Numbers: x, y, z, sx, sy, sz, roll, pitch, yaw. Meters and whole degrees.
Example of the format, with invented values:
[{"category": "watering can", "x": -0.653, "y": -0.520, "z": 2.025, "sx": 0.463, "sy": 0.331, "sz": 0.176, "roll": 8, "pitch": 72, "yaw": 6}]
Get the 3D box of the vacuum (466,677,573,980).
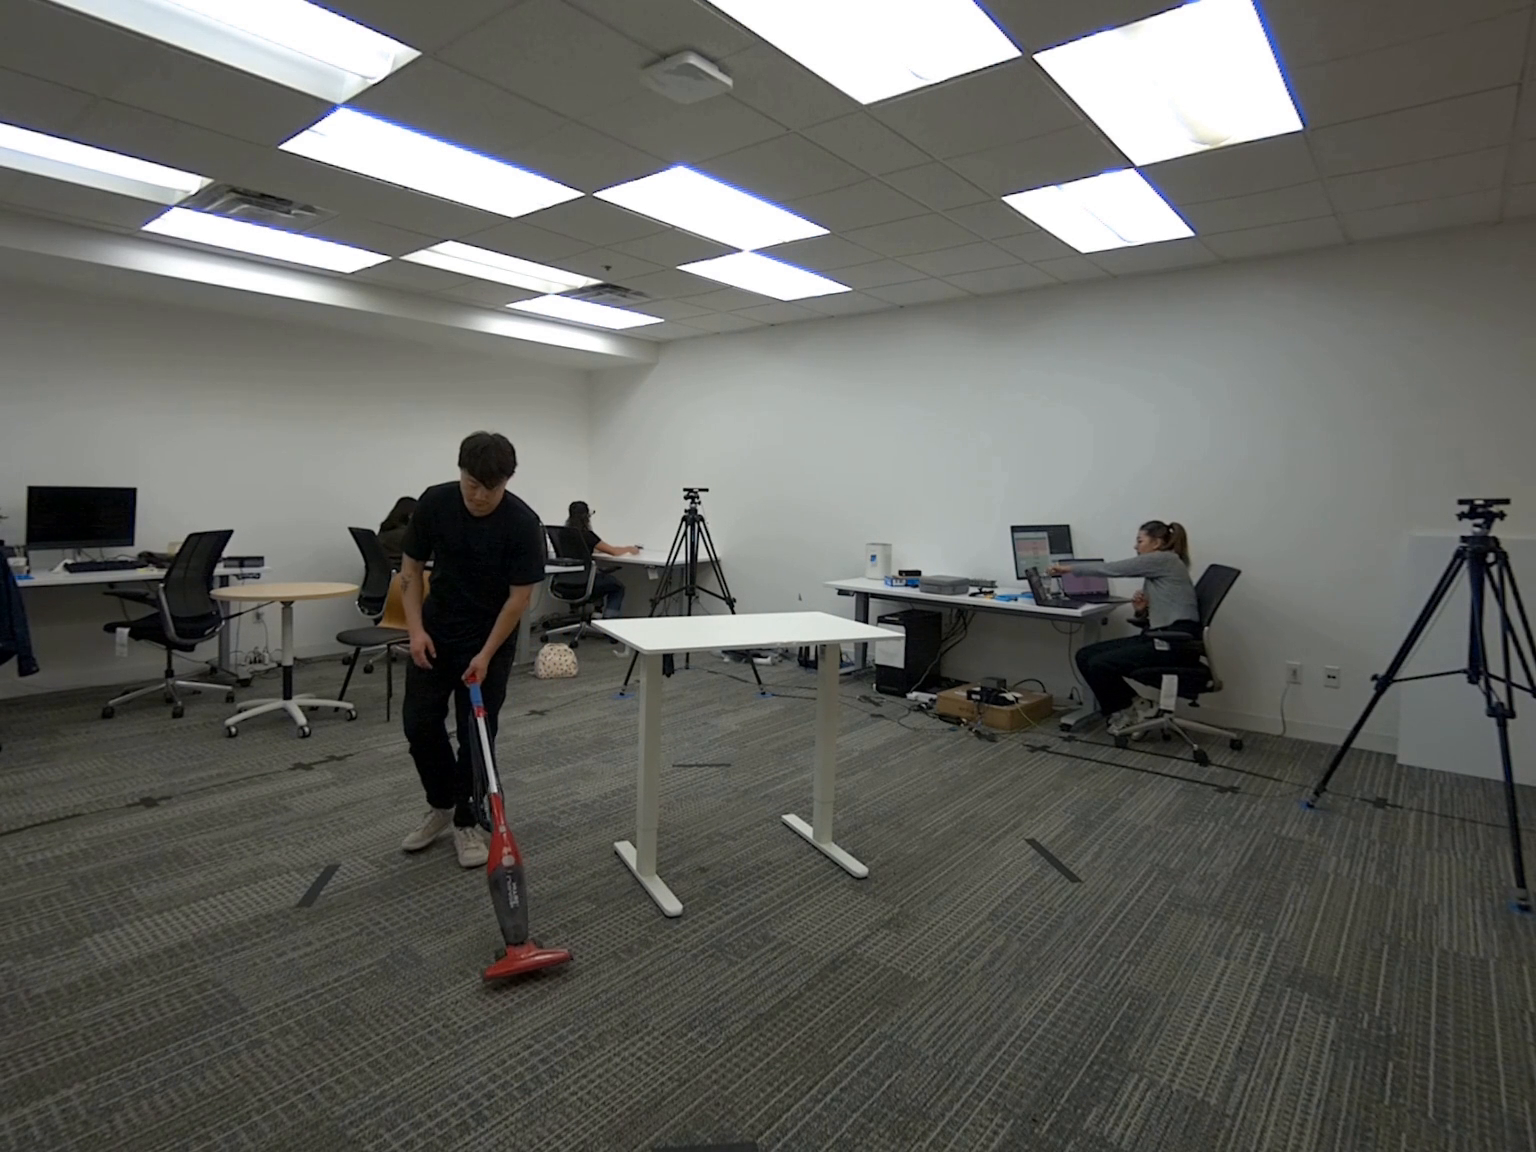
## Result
[{"category": "vacuum", "x": -0.902, "y": 0.740, "z": 2.760, "sx": 0.246, "sy": 0.142, "sz": 1.091, "roll": 0, "pitch": 44, "yaw": -30}]
